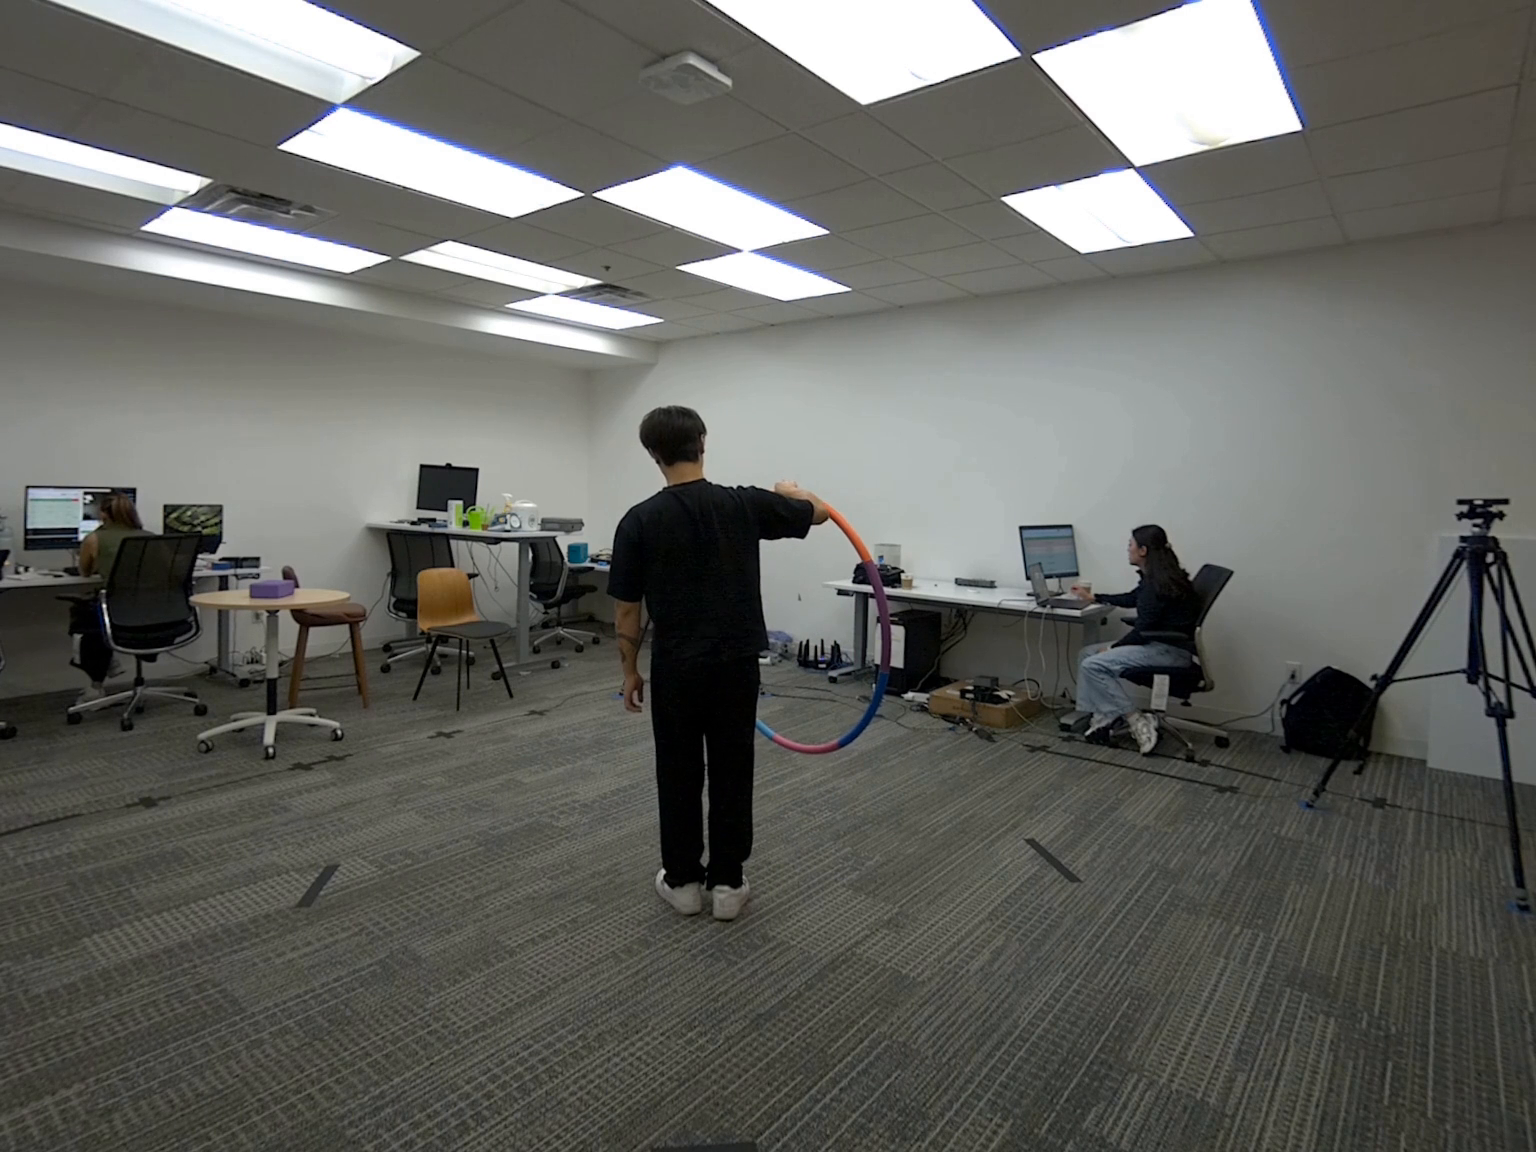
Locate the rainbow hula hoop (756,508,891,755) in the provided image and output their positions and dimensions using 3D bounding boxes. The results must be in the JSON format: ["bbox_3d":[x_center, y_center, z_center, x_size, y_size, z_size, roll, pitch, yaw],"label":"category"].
[{"bbox_3d":[0.051,0.160,3.173,0.034,0.972,1.012,-9,9,-40],"label":"rainbow hula hoop"}]
